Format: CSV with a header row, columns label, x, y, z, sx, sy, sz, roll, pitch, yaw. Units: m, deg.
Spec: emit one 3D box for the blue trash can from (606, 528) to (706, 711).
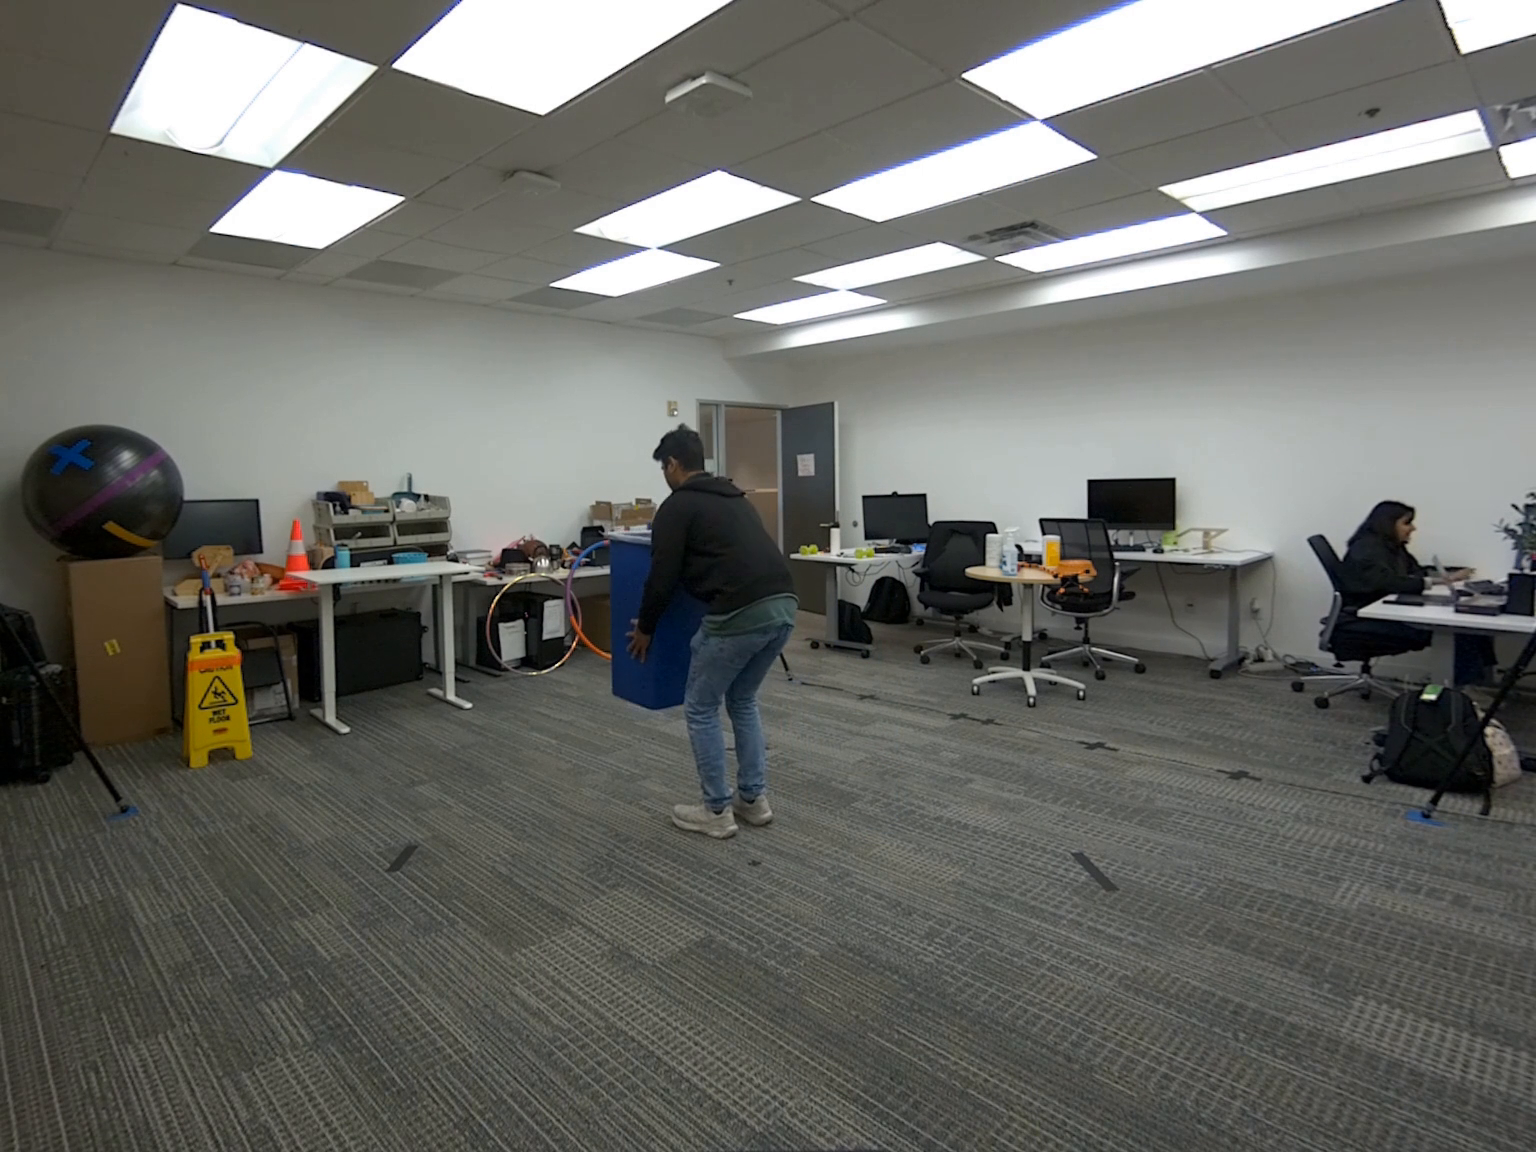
label,x,y,z,sx,sy,sz,roll,pitch,yaw
blue trash can,-0.470,0.175,3.715,0.386,0.710,0.367,8,8,44
